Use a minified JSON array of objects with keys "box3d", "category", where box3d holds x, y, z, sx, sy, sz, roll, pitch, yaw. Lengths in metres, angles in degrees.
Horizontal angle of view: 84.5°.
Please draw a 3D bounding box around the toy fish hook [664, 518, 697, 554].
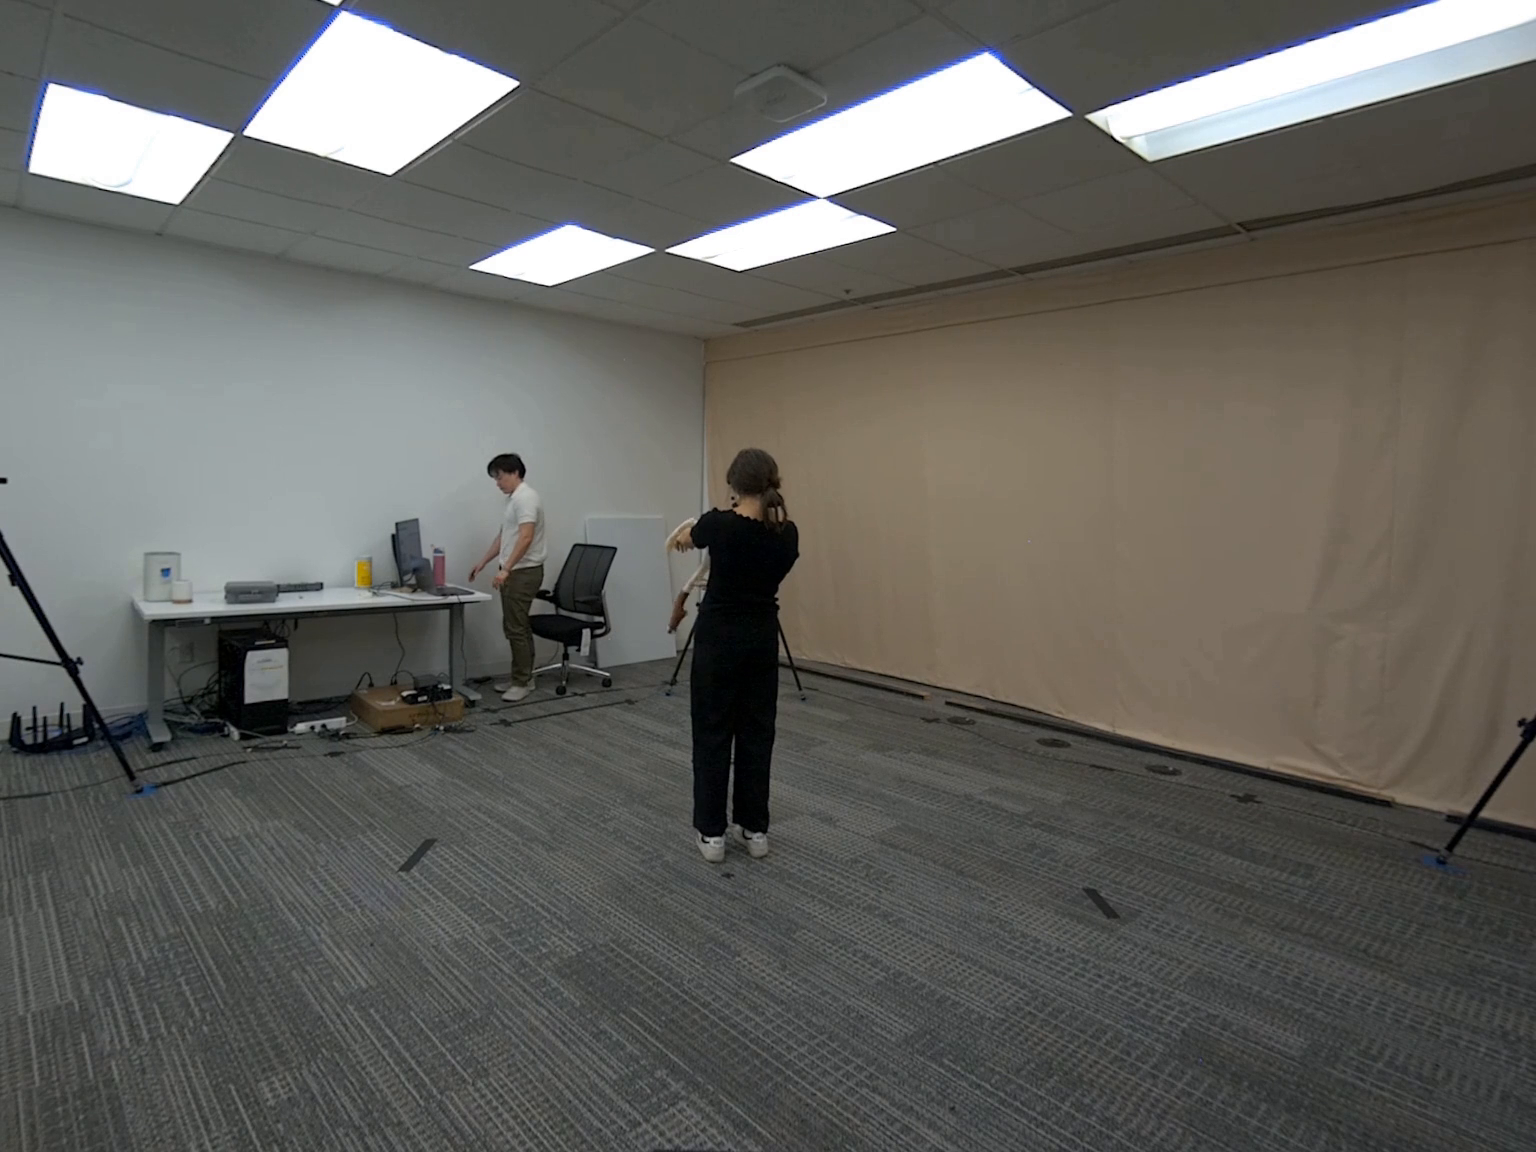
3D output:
[{"box3d":[-0.380,-0.001,3.629,0.225,0.505,0.048,22,7,2],"category":"toy fish hook"}]
